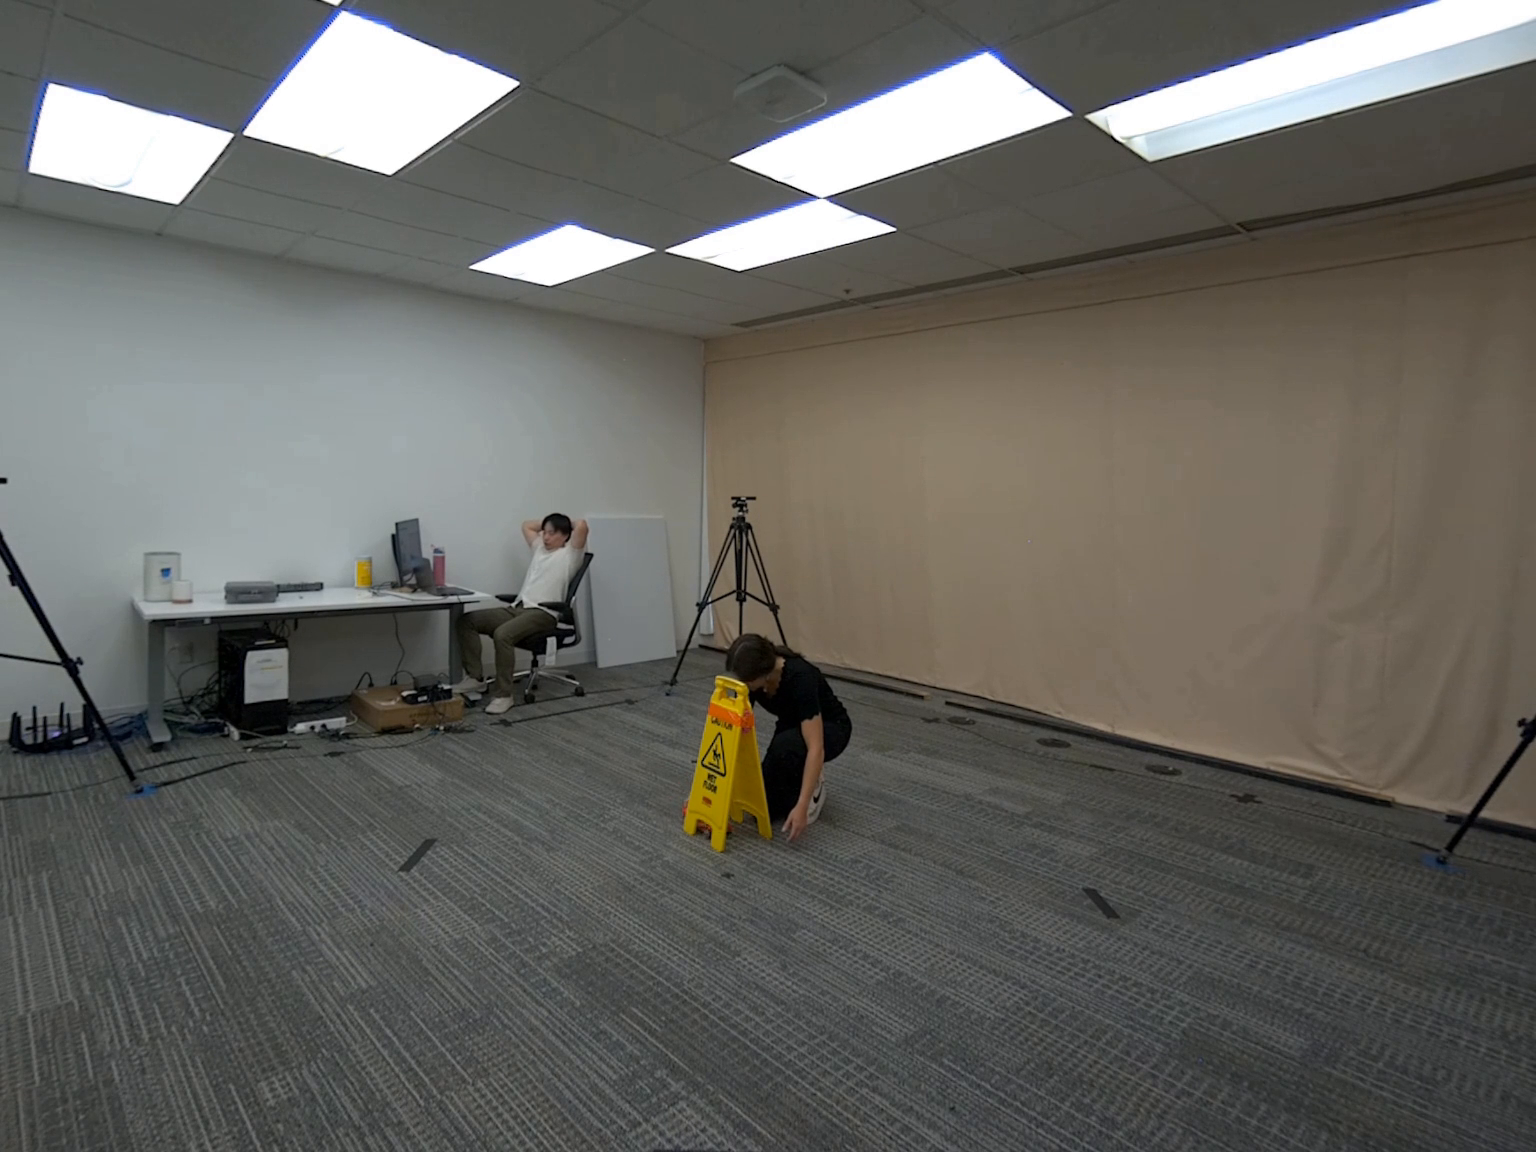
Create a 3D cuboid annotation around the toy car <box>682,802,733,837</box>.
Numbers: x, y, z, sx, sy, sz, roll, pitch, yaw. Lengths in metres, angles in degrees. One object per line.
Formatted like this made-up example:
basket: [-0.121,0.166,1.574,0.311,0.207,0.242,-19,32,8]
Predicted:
toy car: [-0.258,1.033,3.553,0.127,0.082,0.262,-3,17,-39]
